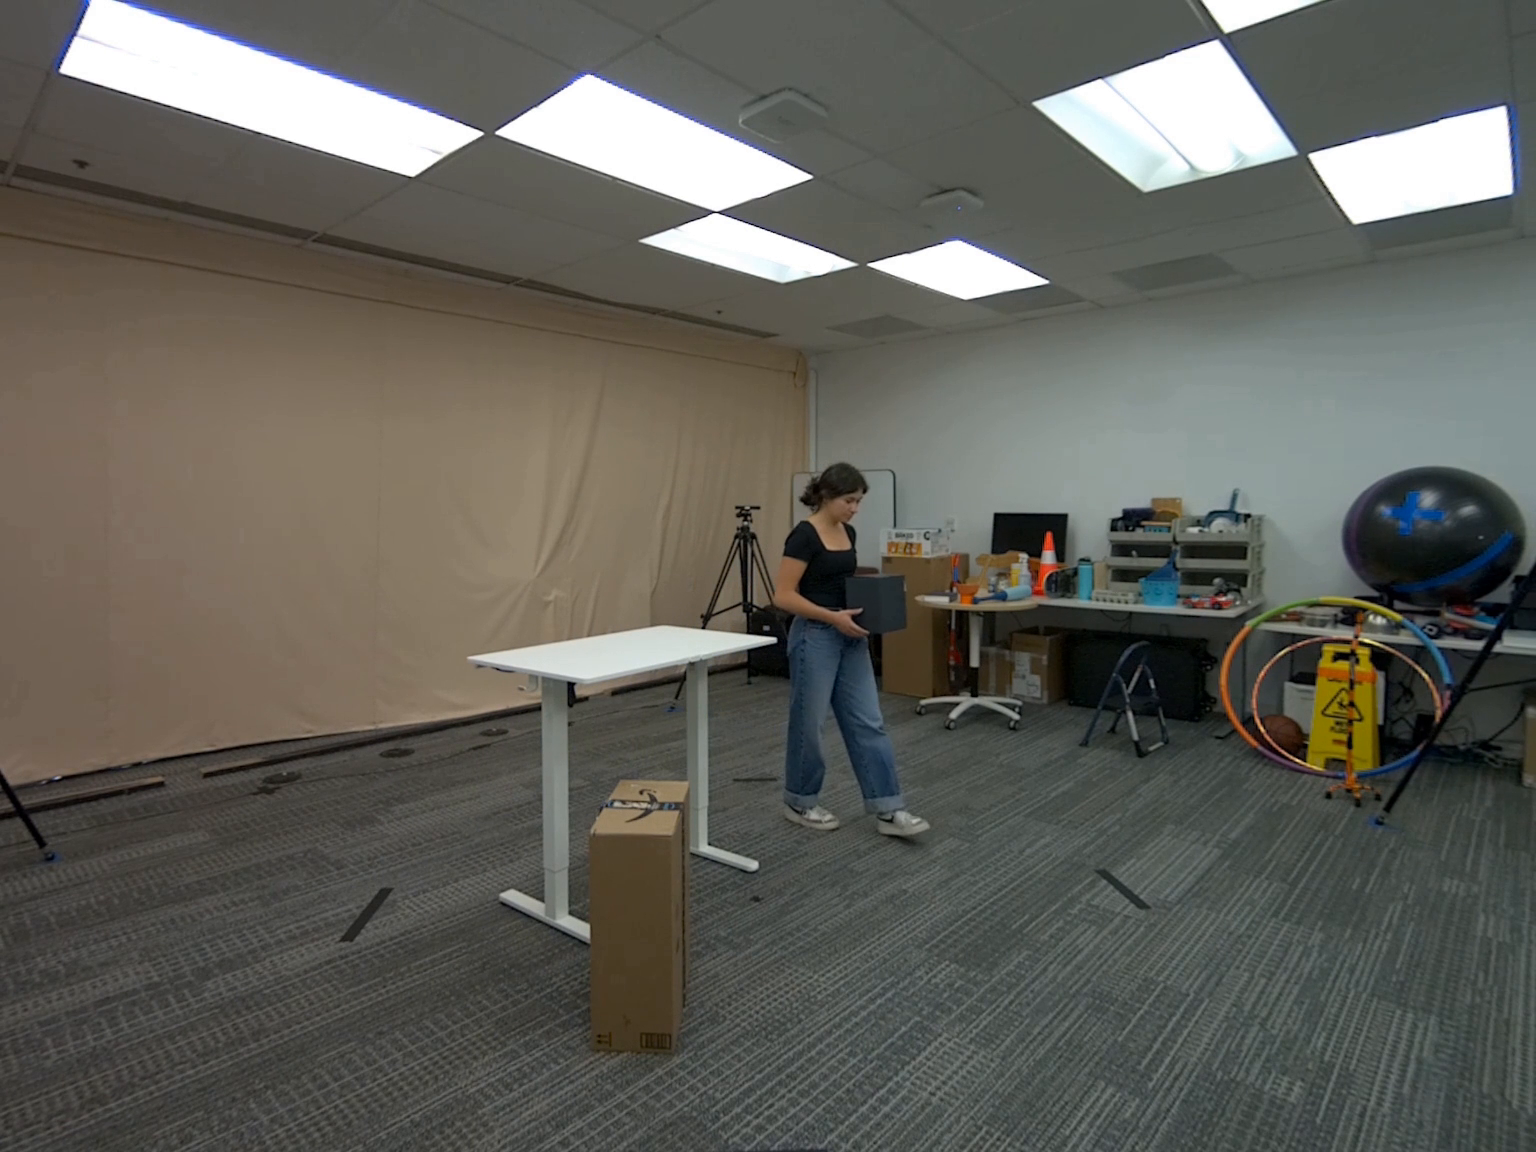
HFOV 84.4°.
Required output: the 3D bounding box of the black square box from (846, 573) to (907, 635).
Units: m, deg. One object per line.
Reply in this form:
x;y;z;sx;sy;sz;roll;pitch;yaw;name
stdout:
0.451;0.106;3.455;0.161;0.228;0.210;0;2;40;black square box
